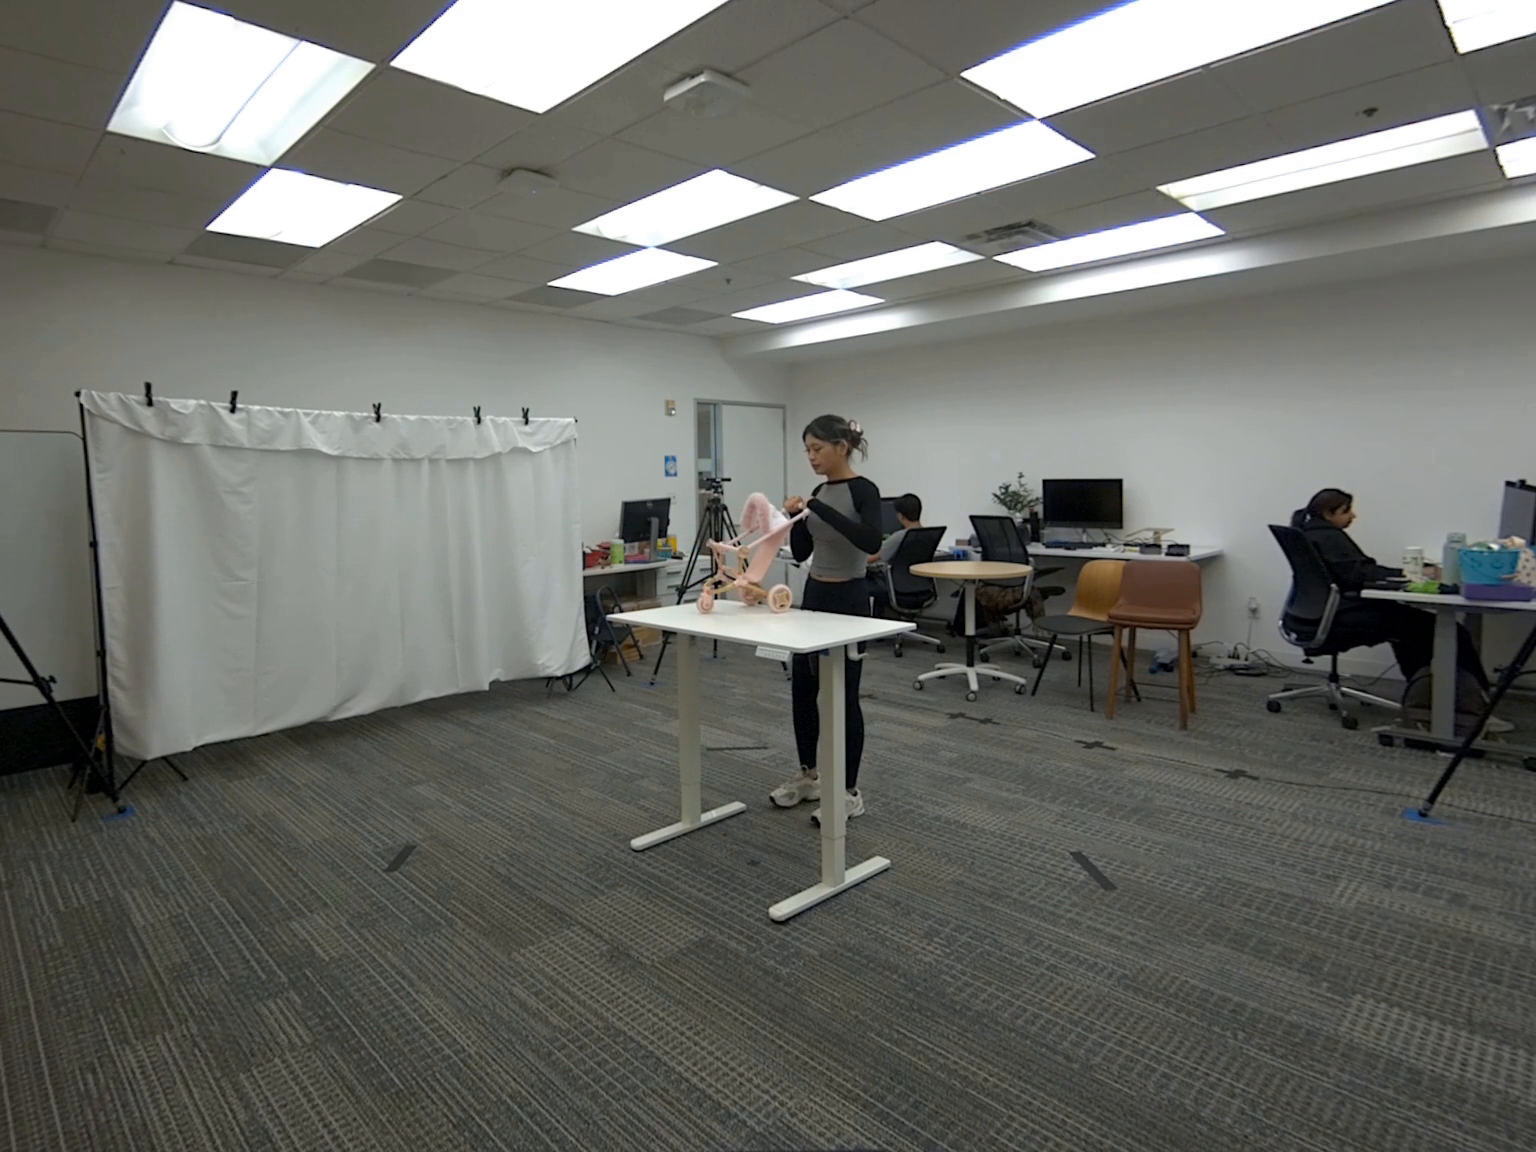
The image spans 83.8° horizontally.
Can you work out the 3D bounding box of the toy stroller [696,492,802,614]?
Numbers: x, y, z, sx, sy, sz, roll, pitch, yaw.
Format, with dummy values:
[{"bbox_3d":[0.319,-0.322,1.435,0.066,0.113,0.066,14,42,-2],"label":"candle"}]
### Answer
[{"bbox_3d":[-0.067,-0.088,3.338,0.334,0.535,0.287,15,-1,-21],"label":"toy stroller"}]
